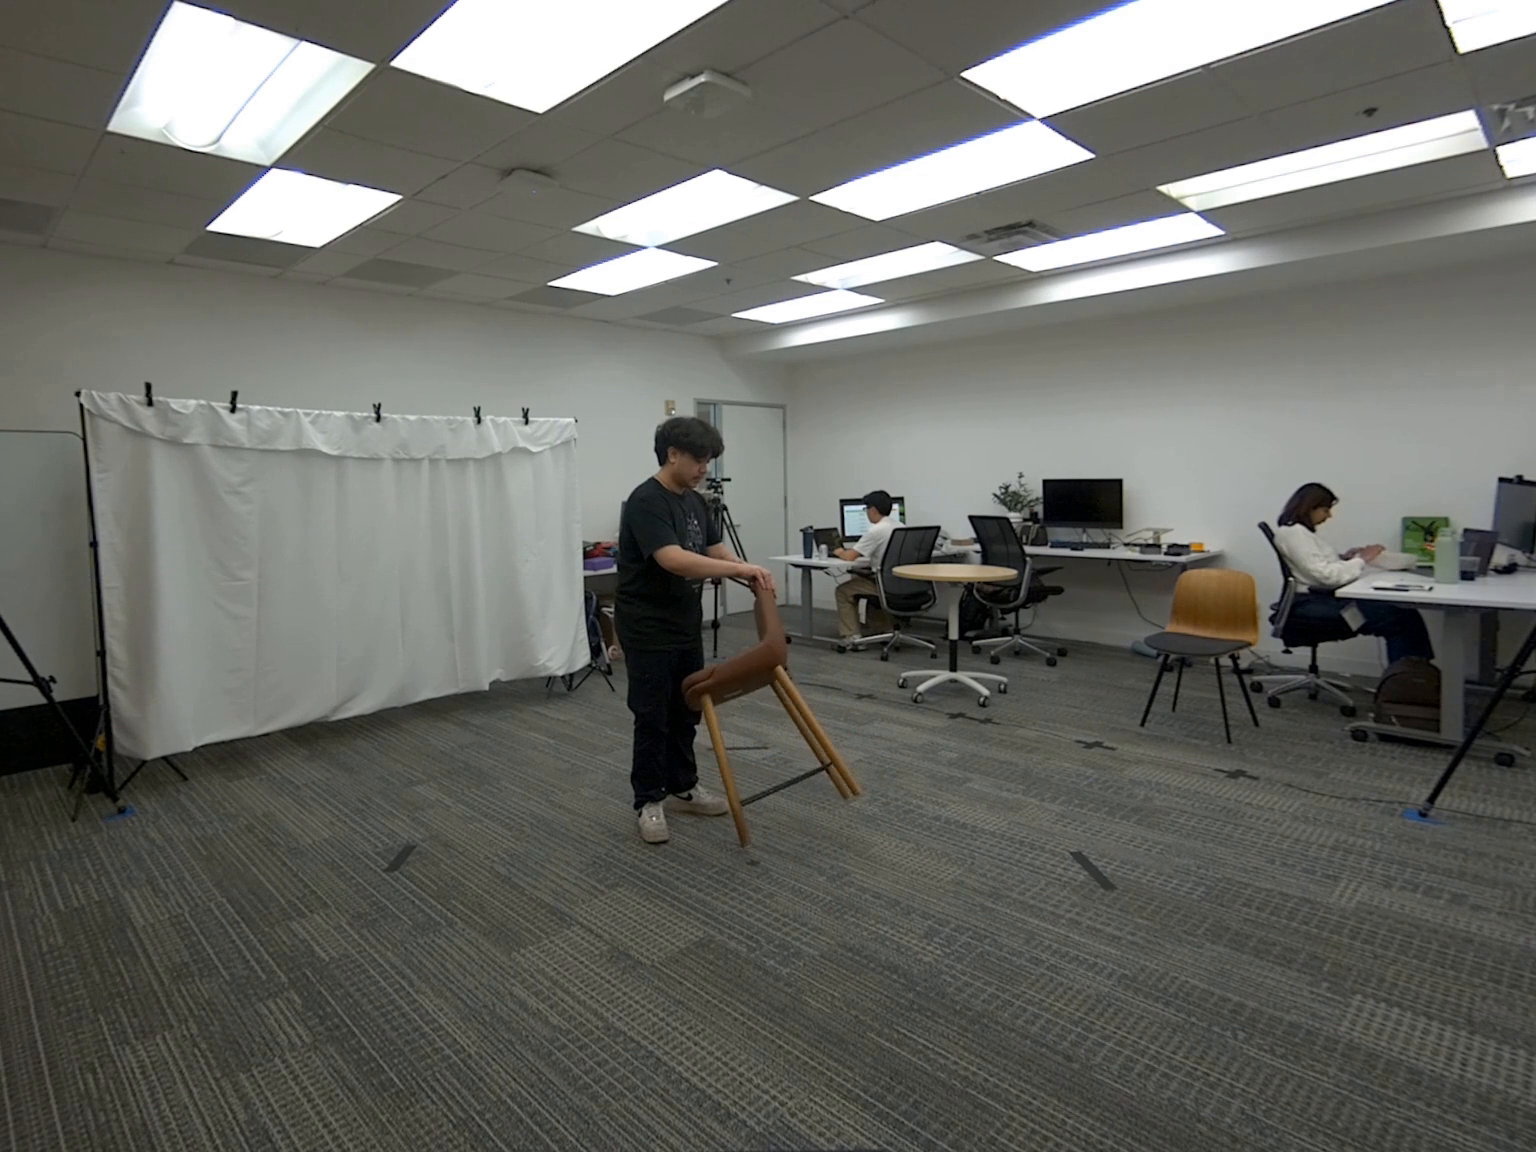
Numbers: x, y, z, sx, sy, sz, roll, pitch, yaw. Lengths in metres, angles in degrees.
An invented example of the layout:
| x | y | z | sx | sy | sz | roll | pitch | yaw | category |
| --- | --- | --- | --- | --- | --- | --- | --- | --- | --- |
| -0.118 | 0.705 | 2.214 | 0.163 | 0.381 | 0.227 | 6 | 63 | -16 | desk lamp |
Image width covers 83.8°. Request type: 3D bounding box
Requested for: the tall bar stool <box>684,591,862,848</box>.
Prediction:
| x | y | z | sx | sy | sz | roll | pitch | yaw | category |
| --- | --- | --- | --- | --- | --- | --- | --- | --- | --- |
| -0.052 | 0.504 | 3.221 | 0.466 | 0.908 | 0.449 | -21 | -17 | -7 | tall bar stool |
